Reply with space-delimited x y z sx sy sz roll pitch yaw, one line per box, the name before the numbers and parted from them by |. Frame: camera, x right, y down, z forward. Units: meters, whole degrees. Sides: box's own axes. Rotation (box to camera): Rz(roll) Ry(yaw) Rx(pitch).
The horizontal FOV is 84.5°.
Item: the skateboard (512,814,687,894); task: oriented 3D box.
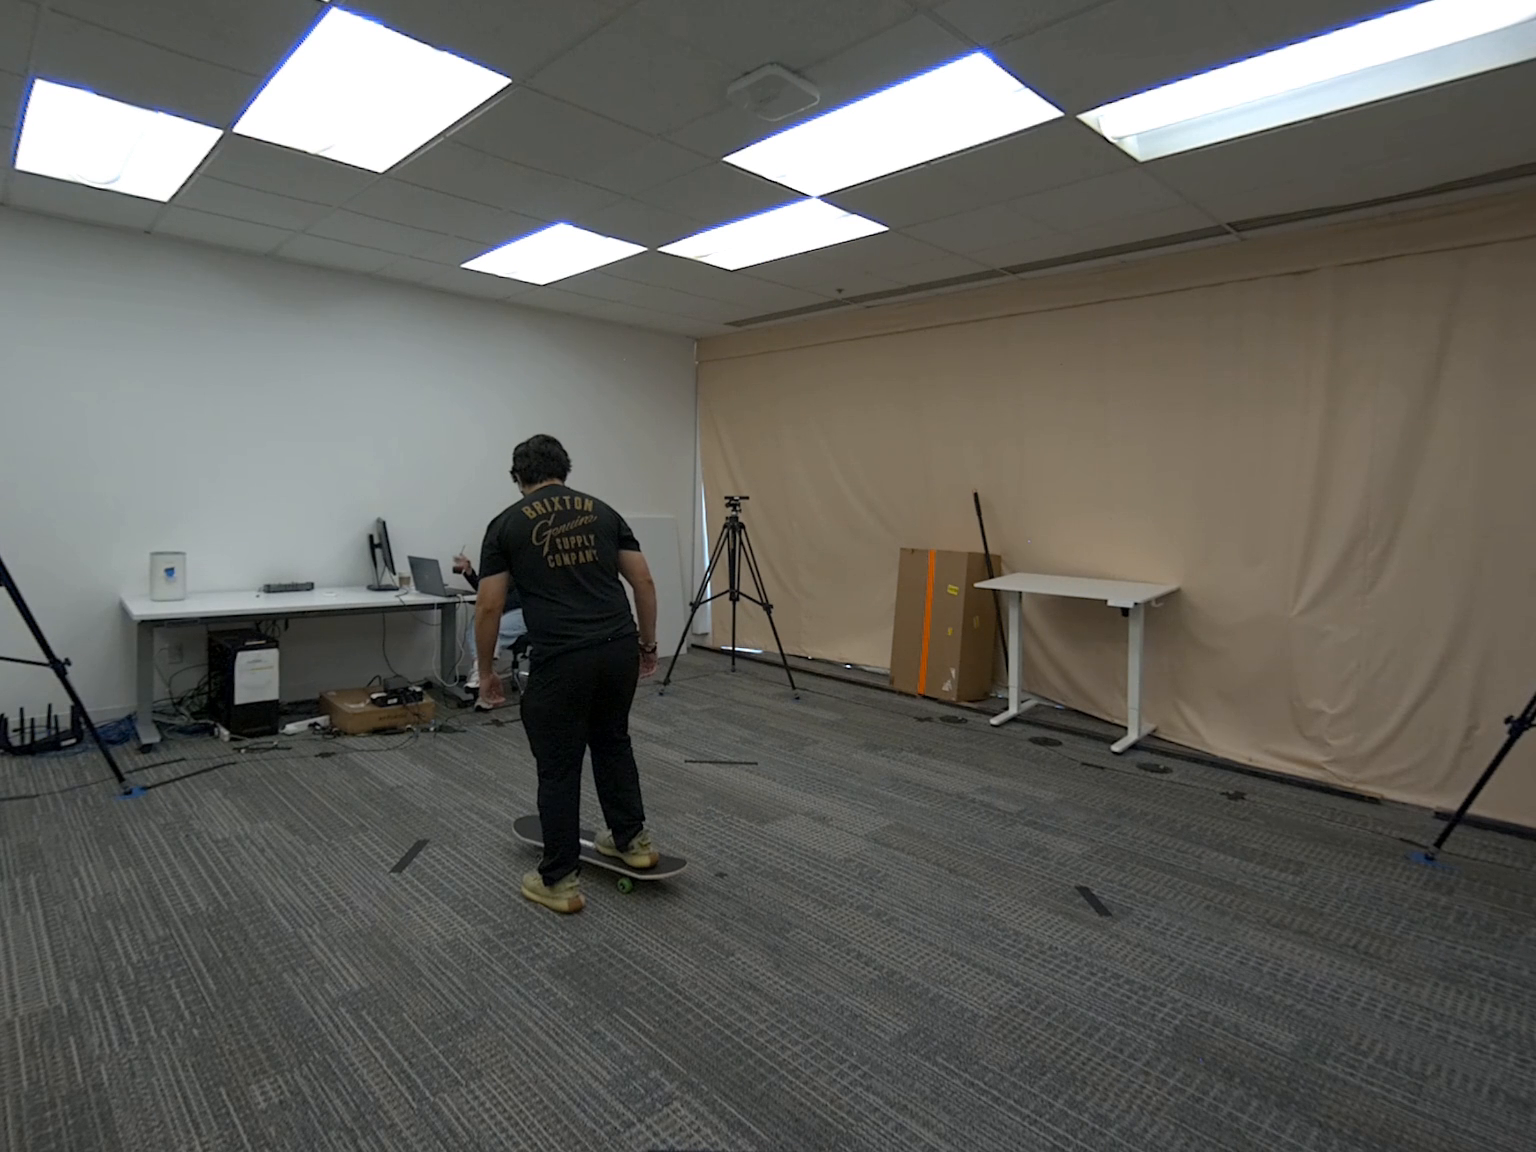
skateboard | -0.650 1.042 3.120 0.803 0.110 0.190 5 6 31
